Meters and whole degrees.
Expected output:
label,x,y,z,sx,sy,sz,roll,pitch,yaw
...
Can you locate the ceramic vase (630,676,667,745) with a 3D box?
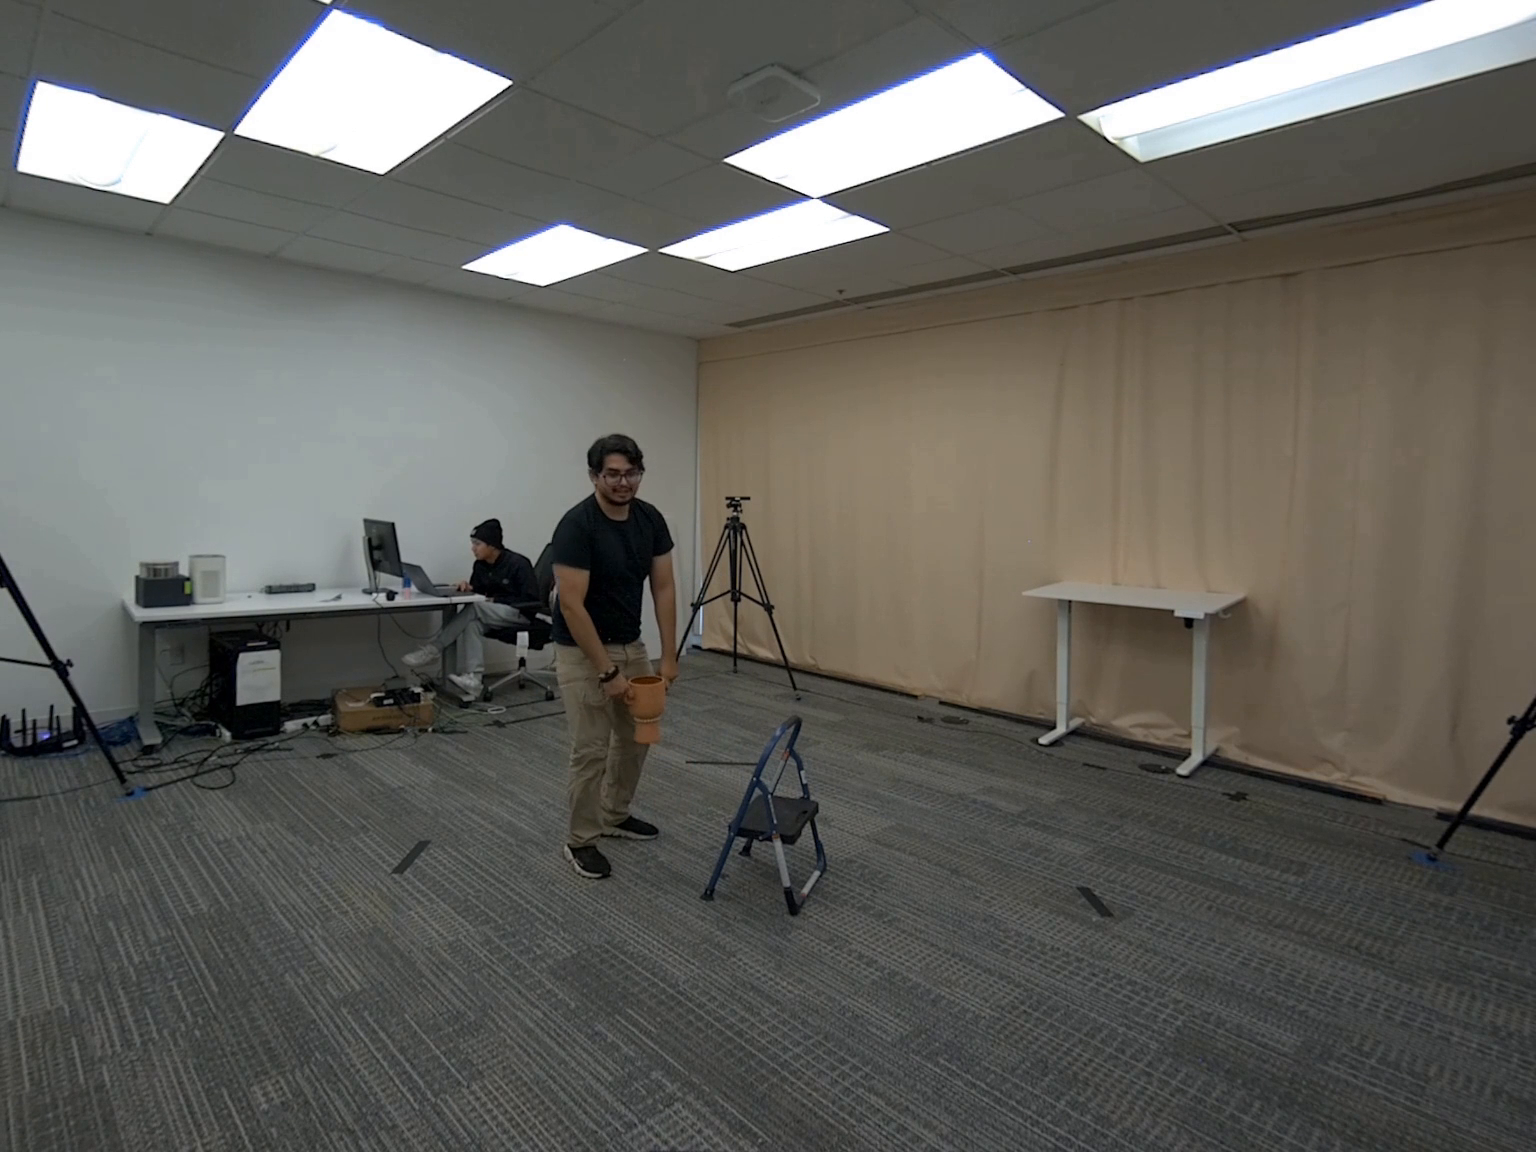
label,x,y,z,sx,sy,sz,roll,pitch,yaw
ceramic vase,-0.455,0.491,3.060,0.158,0.218,0.136,-1,8,-7
